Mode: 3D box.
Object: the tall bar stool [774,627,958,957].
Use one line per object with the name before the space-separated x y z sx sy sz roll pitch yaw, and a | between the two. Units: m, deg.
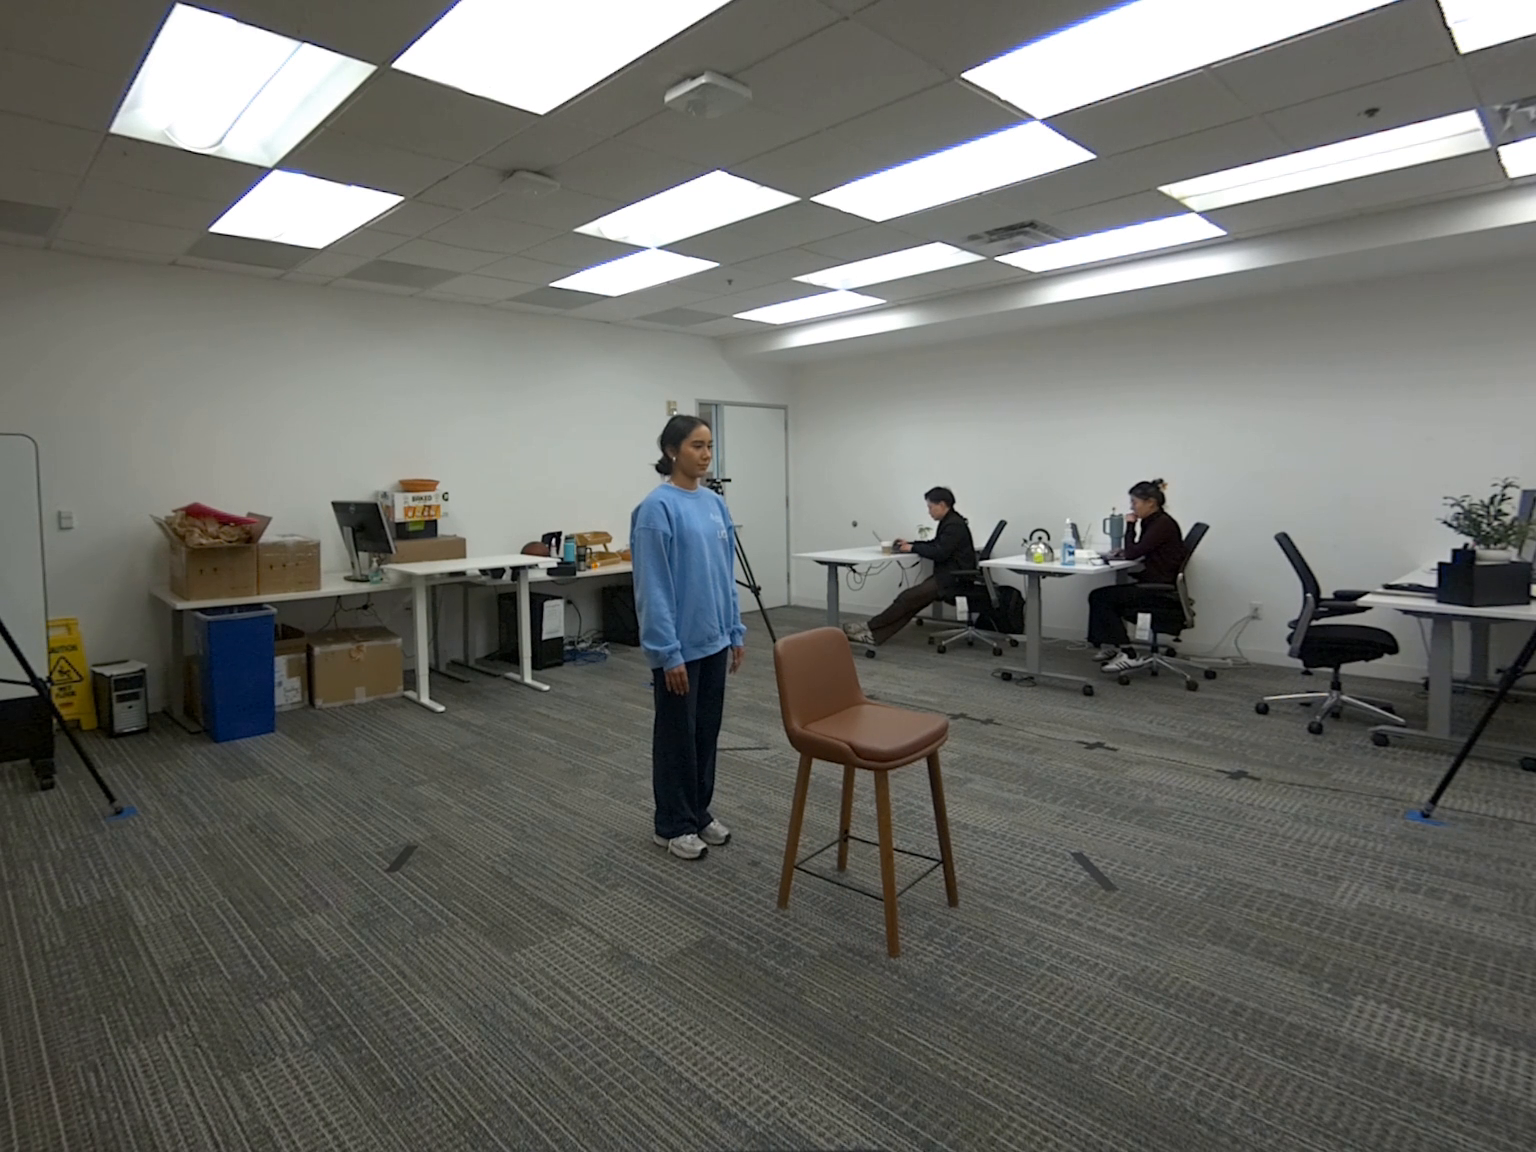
tall bar stool | 0.309 0.641 2.755 0.481 0.888 0.444 0 3 41
